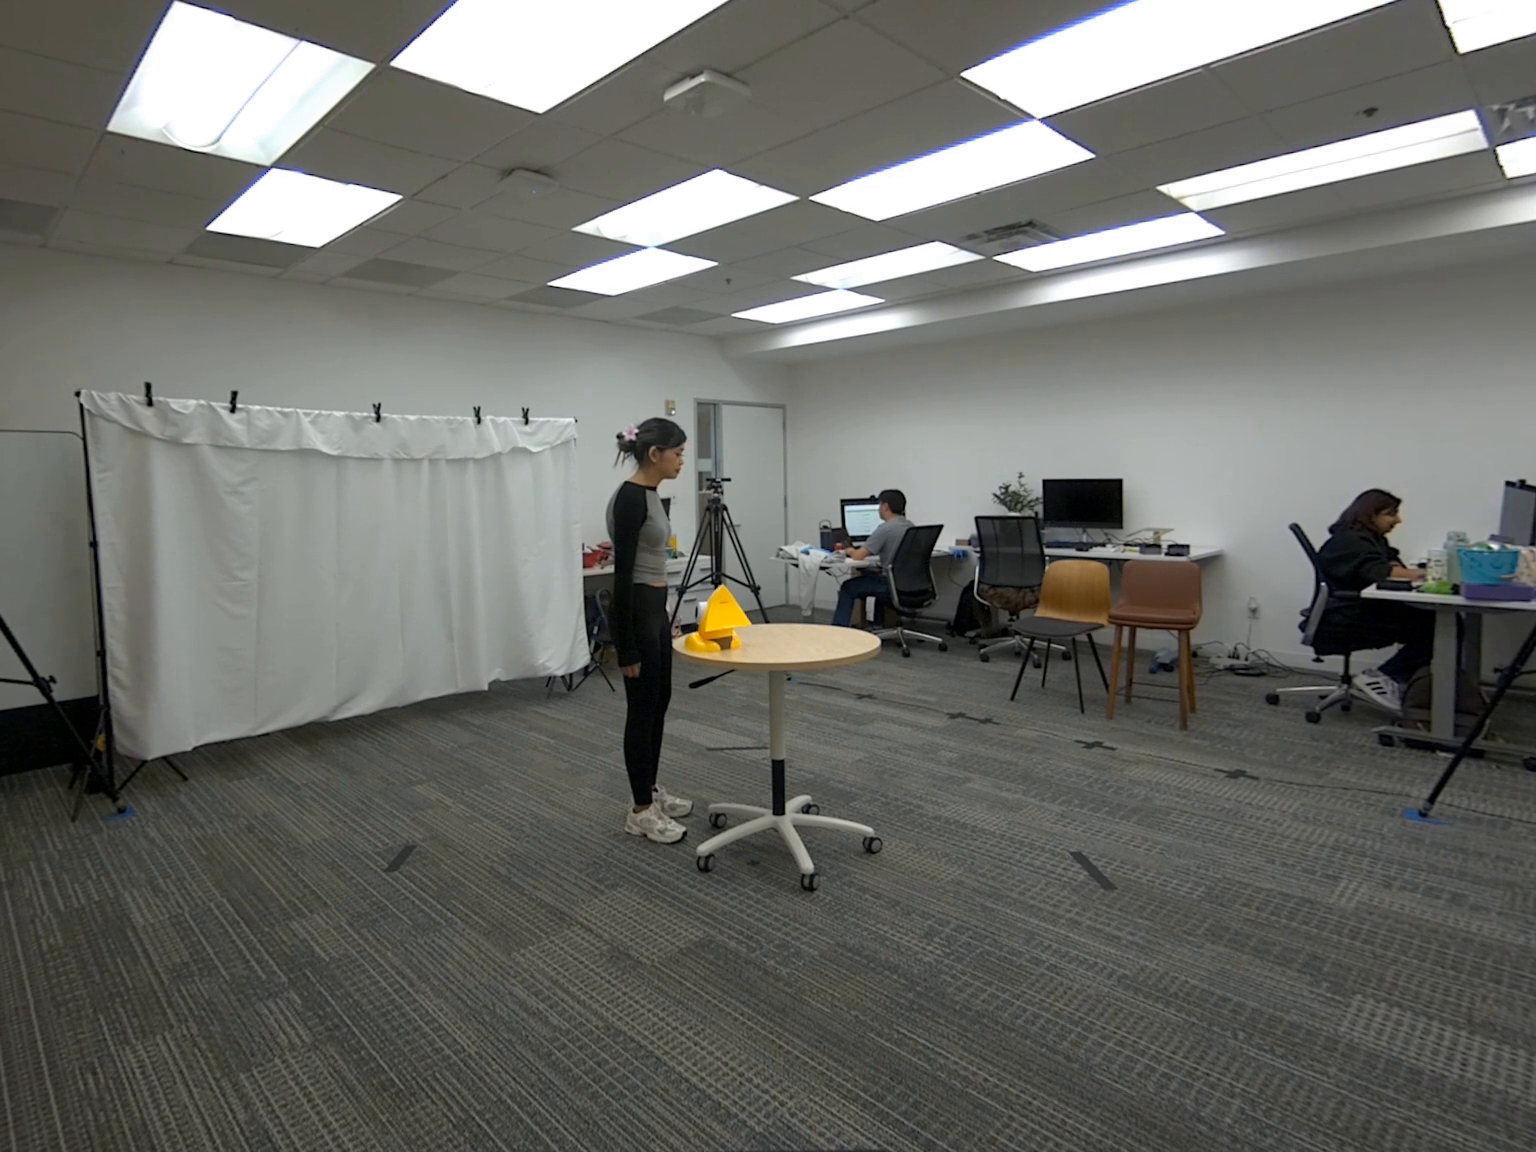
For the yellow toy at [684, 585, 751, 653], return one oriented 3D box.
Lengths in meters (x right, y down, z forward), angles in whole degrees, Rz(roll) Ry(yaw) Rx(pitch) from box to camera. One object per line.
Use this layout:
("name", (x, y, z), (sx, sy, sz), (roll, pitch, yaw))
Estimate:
("yellow toy", (-0.194, 0.143, 3.075), (0.199, 0.230, 0.199), (-5, 5, -38))
